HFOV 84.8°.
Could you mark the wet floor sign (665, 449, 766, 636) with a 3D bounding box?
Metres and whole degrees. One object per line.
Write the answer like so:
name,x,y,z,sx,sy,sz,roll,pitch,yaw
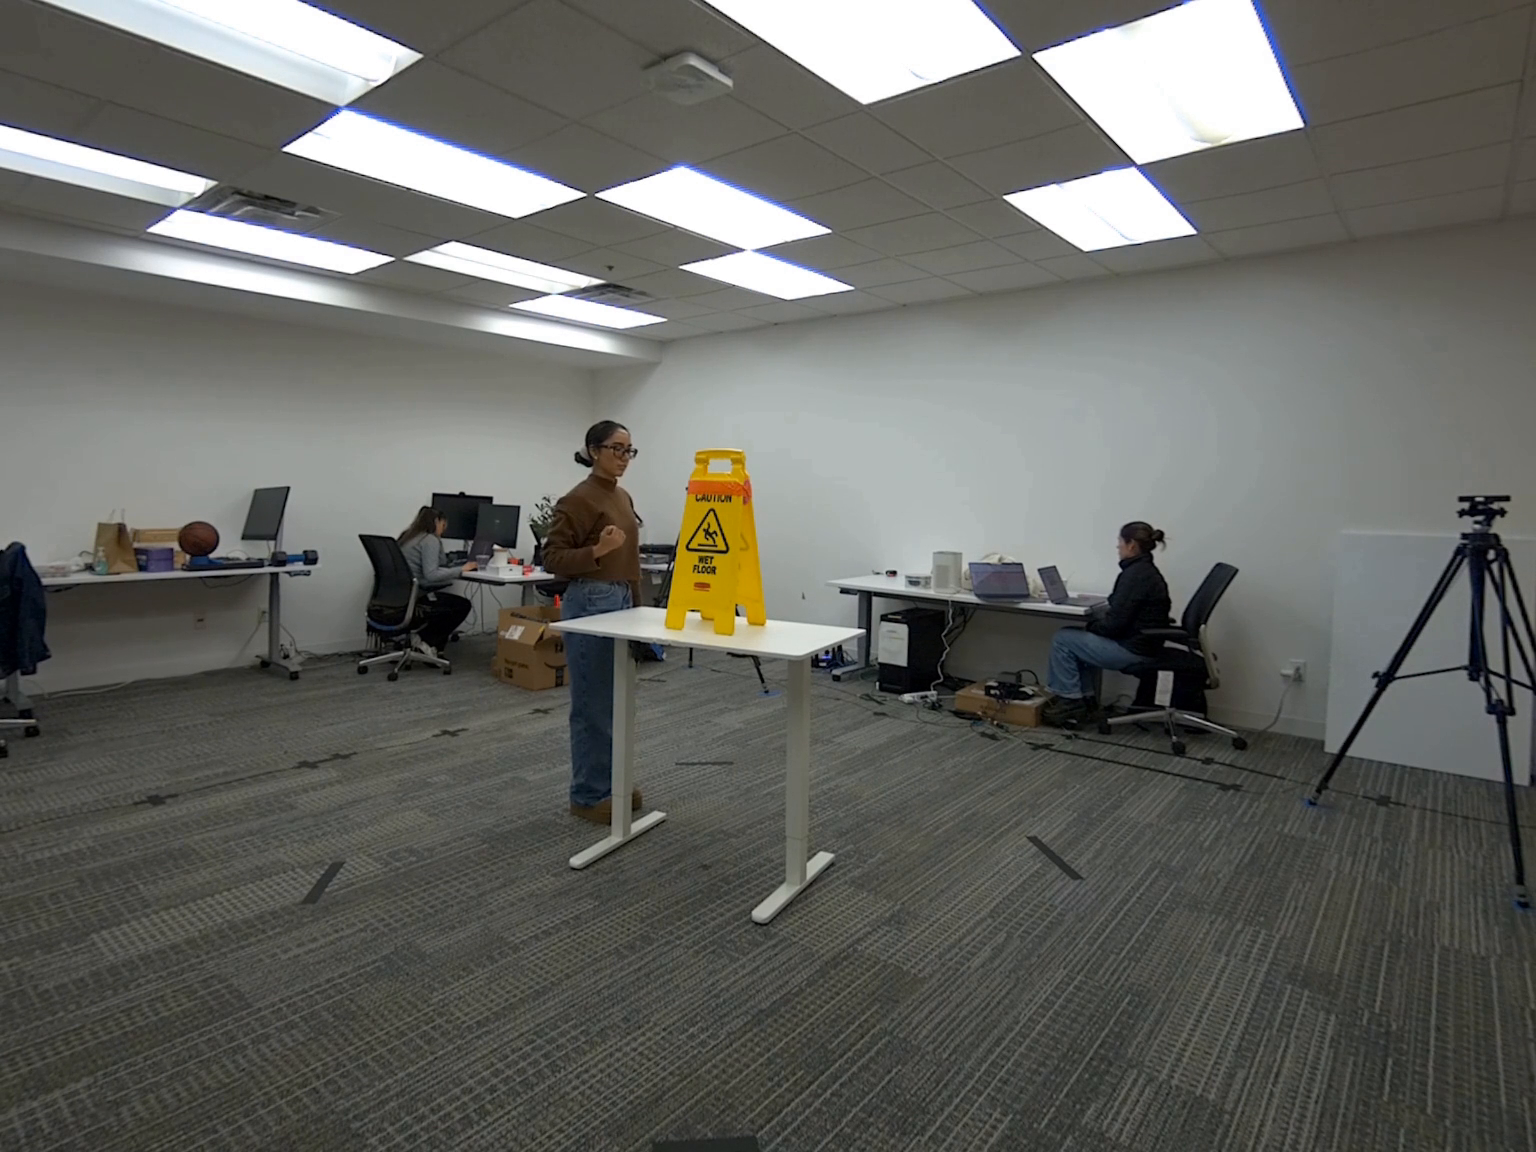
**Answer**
wet floor sign,-0.196,-0.137,3.099,0.290,0.644,0.283,2,4,27
